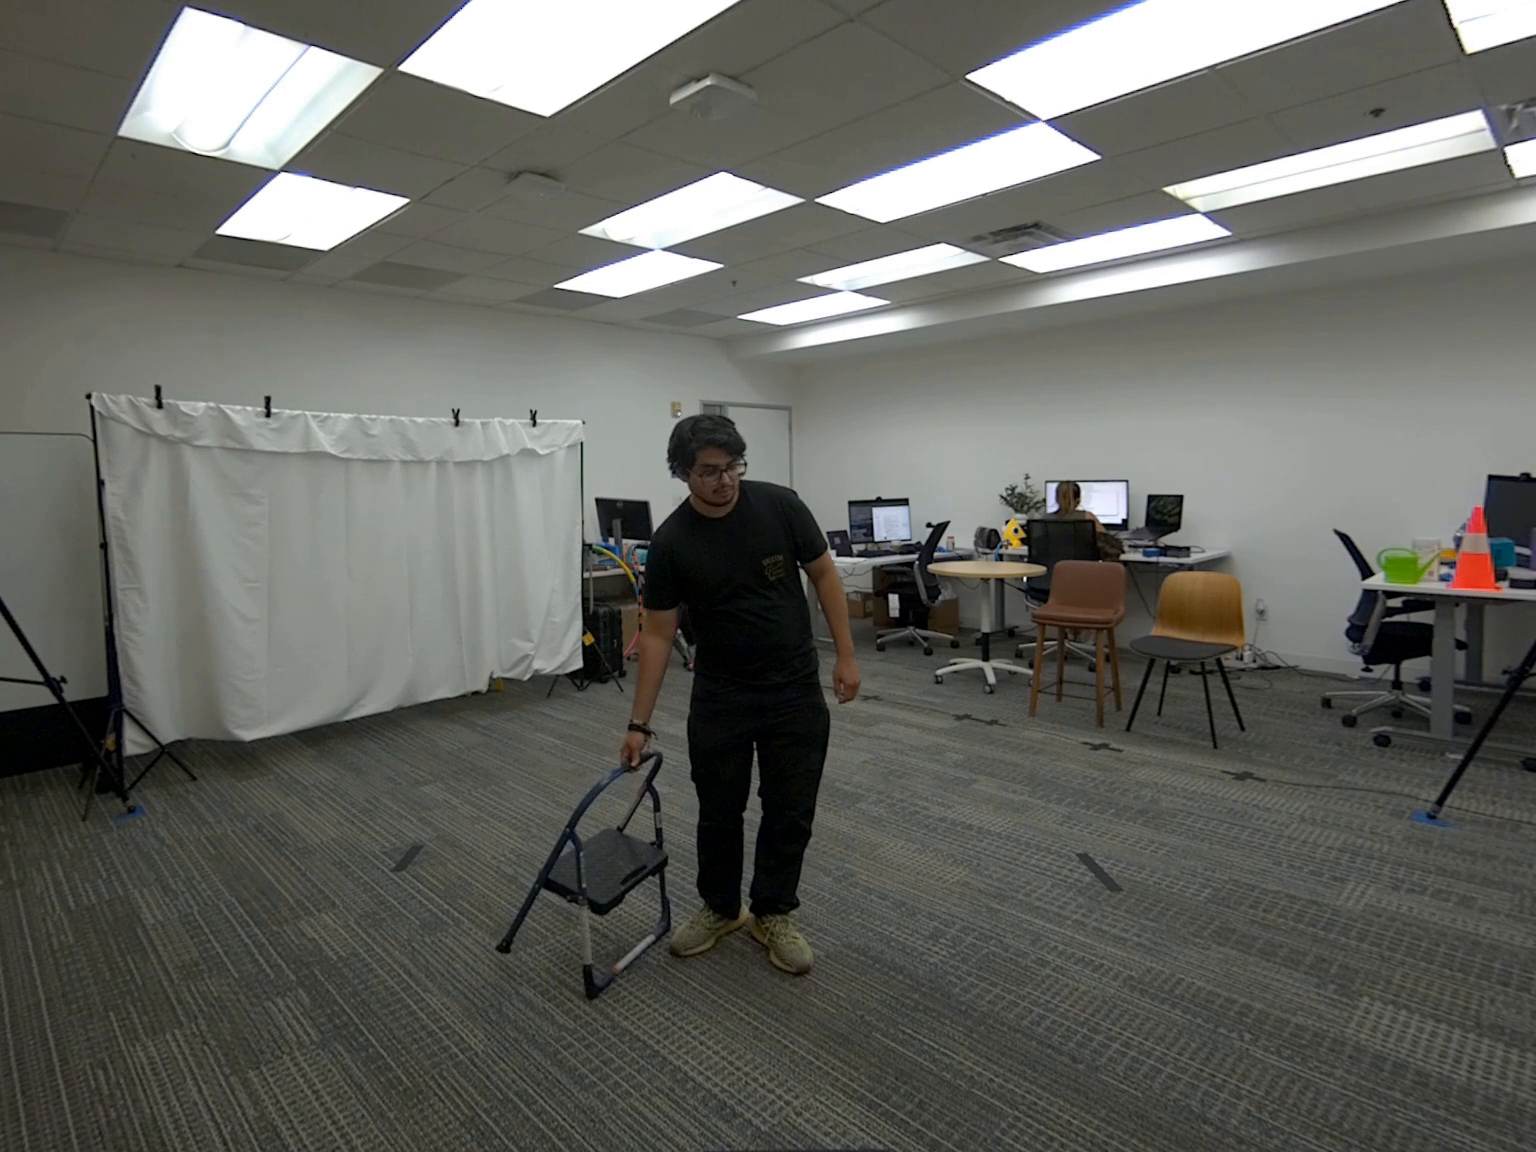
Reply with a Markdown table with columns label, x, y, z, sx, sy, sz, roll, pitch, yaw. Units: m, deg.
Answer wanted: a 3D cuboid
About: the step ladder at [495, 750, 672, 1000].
| label | x | y | z | sx | sy | sz | roll | pitch | yaw |
| --- | --- | --- | --- | --- | --- | --- | --- | --- | --- |
| step ladder | -0.485 | 0.799 | 2.520 | 0.359 | 0.602 | 0.422 | 14 | 11 | 24 |
